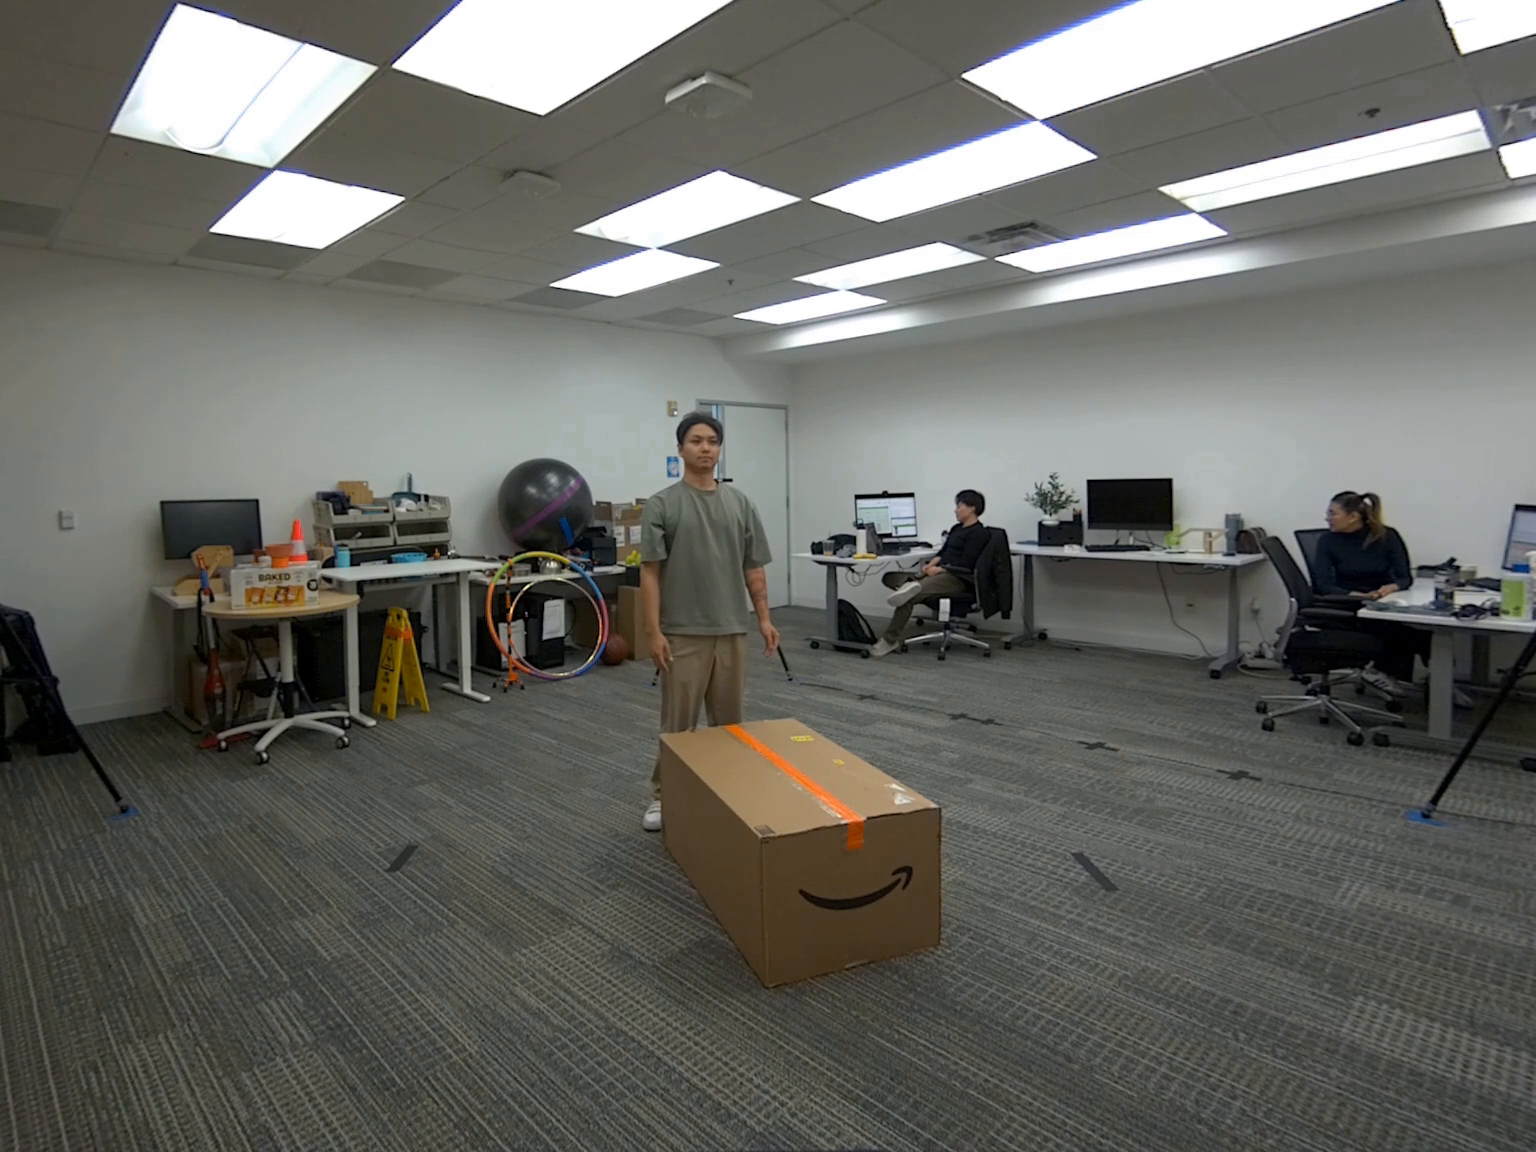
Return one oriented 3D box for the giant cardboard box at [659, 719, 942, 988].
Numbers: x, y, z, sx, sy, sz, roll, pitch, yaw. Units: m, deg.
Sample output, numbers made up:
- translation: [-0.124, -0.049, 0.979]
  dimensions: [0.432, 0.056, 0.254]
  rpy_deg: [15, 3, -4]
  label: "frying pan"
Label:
- translation: [0.054, 0.851, 2.902]
  dimensions: [0.567, 0.424, 1.050]
  rpy_deg: [-4, 7, -22]
  label: "giant cardboard box"
